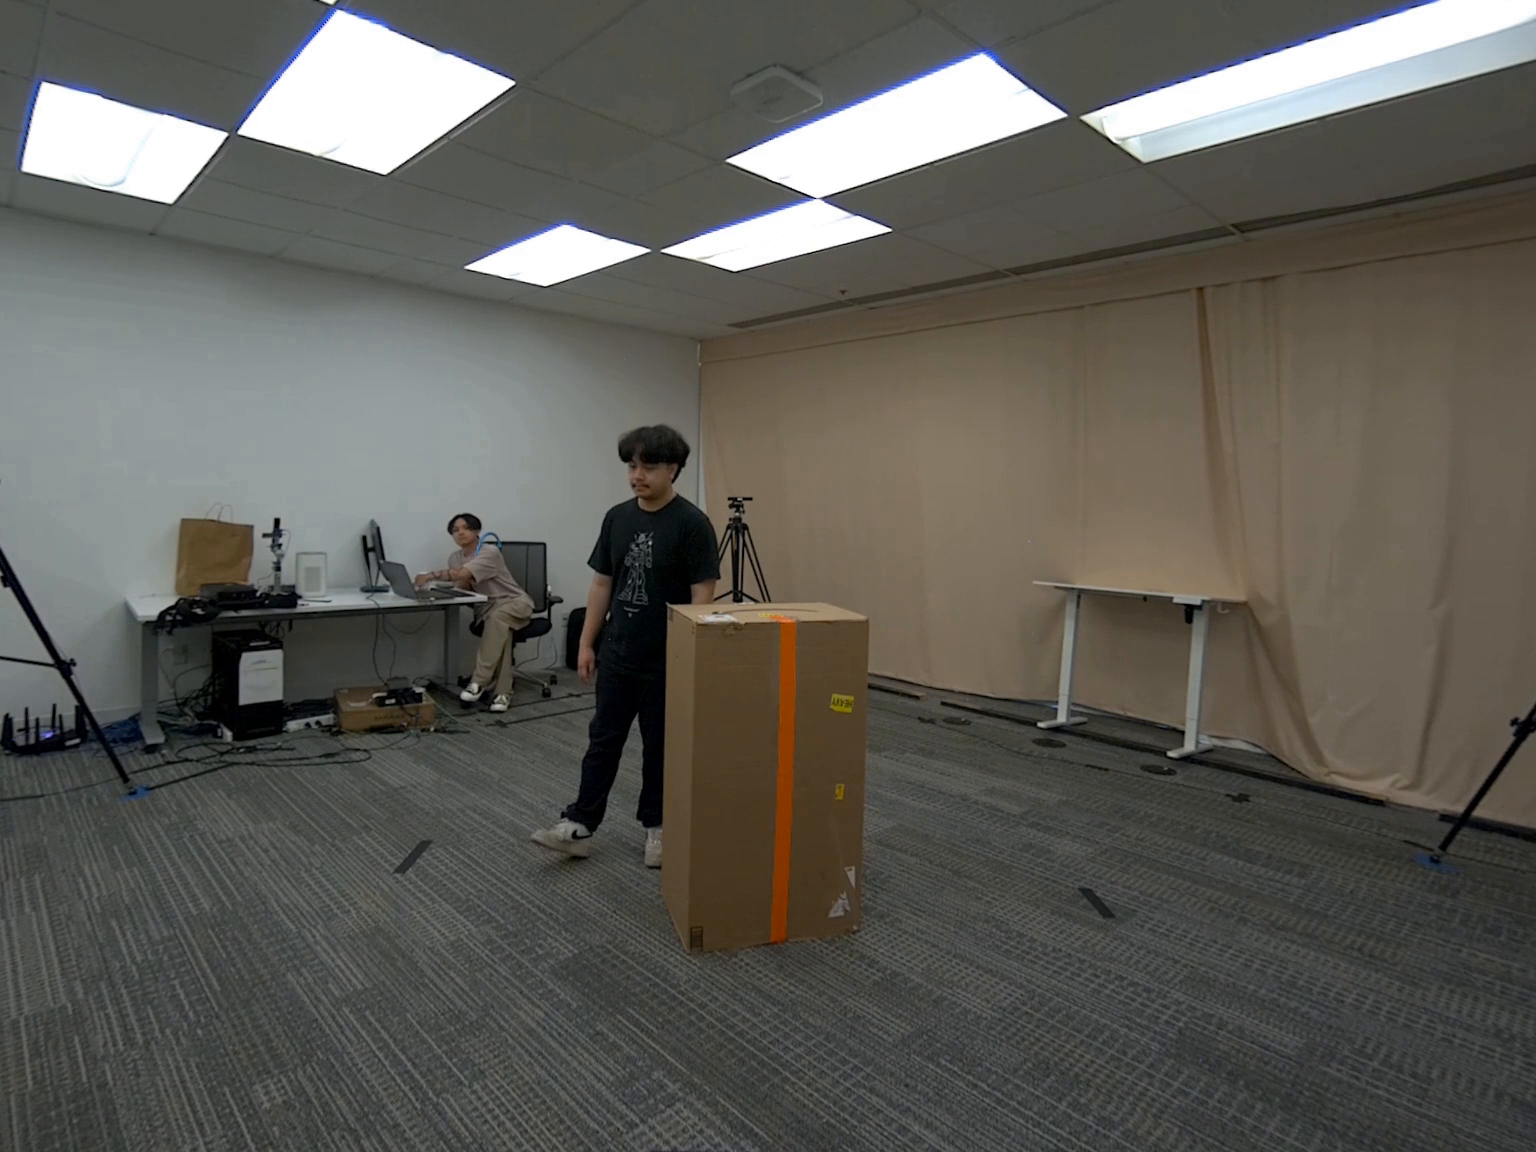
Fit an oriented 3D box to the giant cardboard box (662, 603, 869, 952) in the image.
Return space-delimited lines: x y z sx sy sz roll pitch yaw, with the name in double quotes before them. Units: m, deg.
"giant cardboard box" -0.029 0.625 2.812 0.576 1.024 0.454 1 4 -17
